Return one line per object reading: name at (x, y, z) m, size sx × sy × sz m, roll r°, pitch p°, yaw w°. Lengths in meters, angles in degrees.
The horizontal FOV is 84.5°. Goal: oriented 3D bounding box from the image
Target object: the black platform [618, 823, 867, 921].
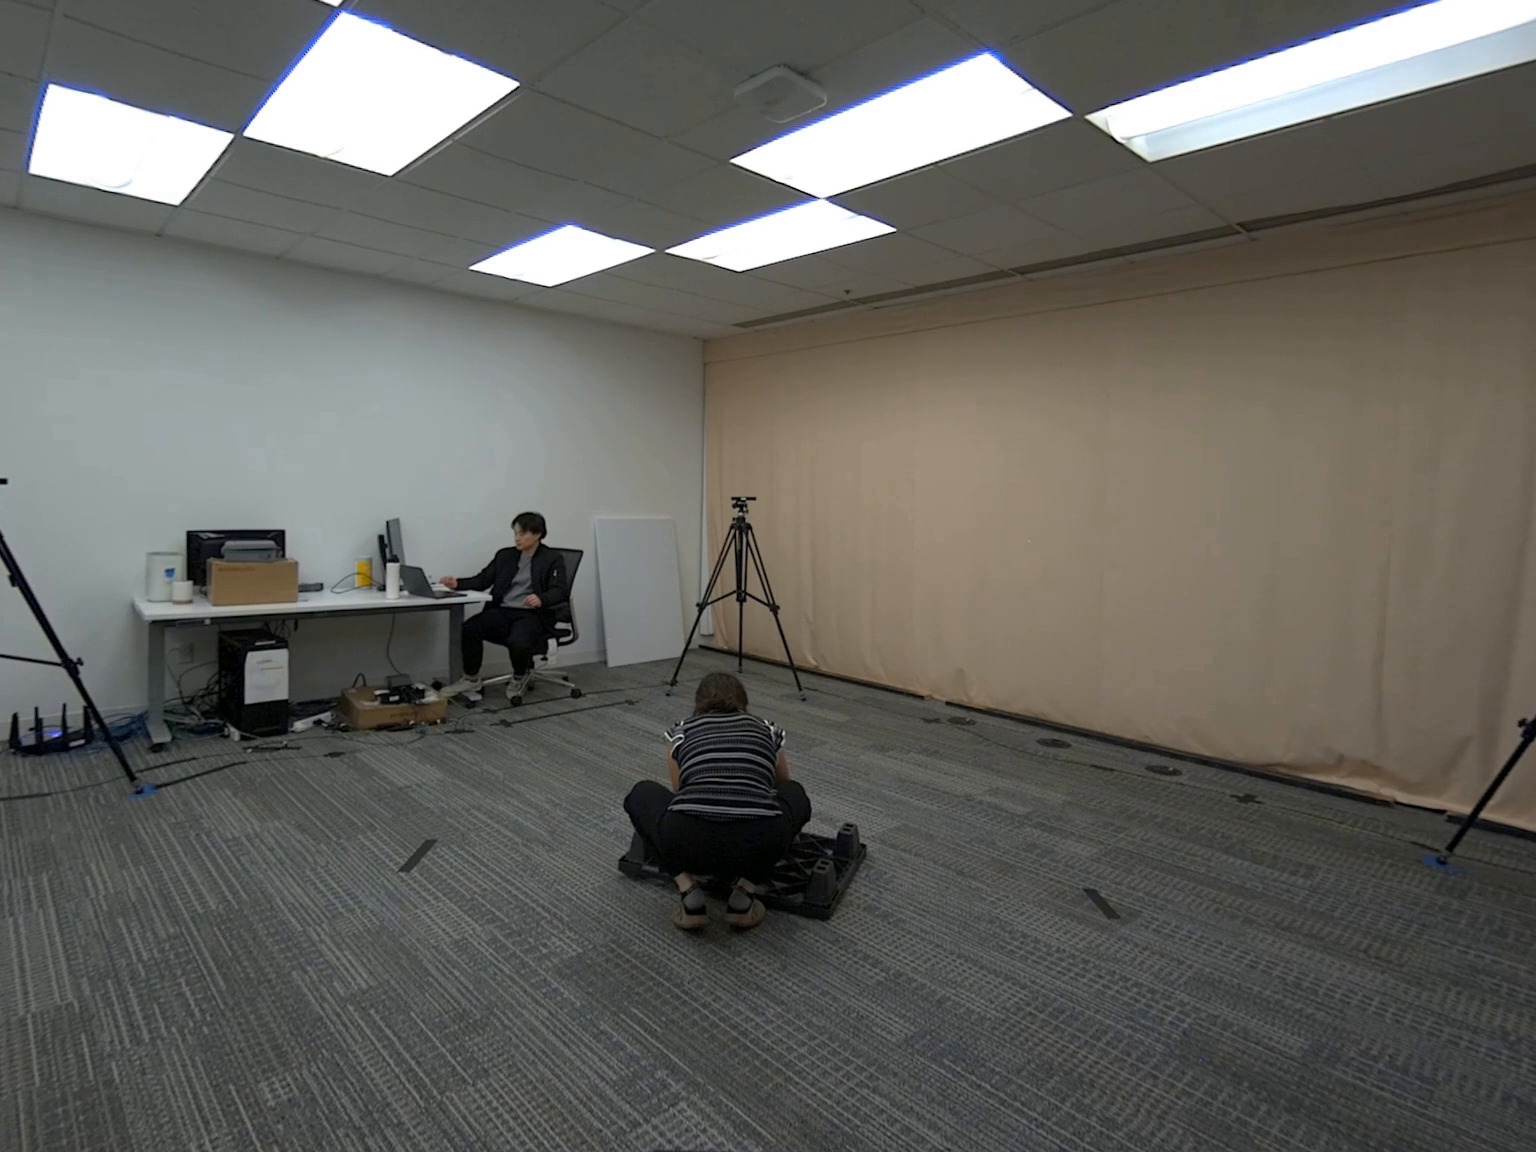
black platform at (-0.087, 1.021, 3.191) m, size 0.819 × 0.143 × 0.597 m, roll 4°, pitch 5°, yaw 20°
